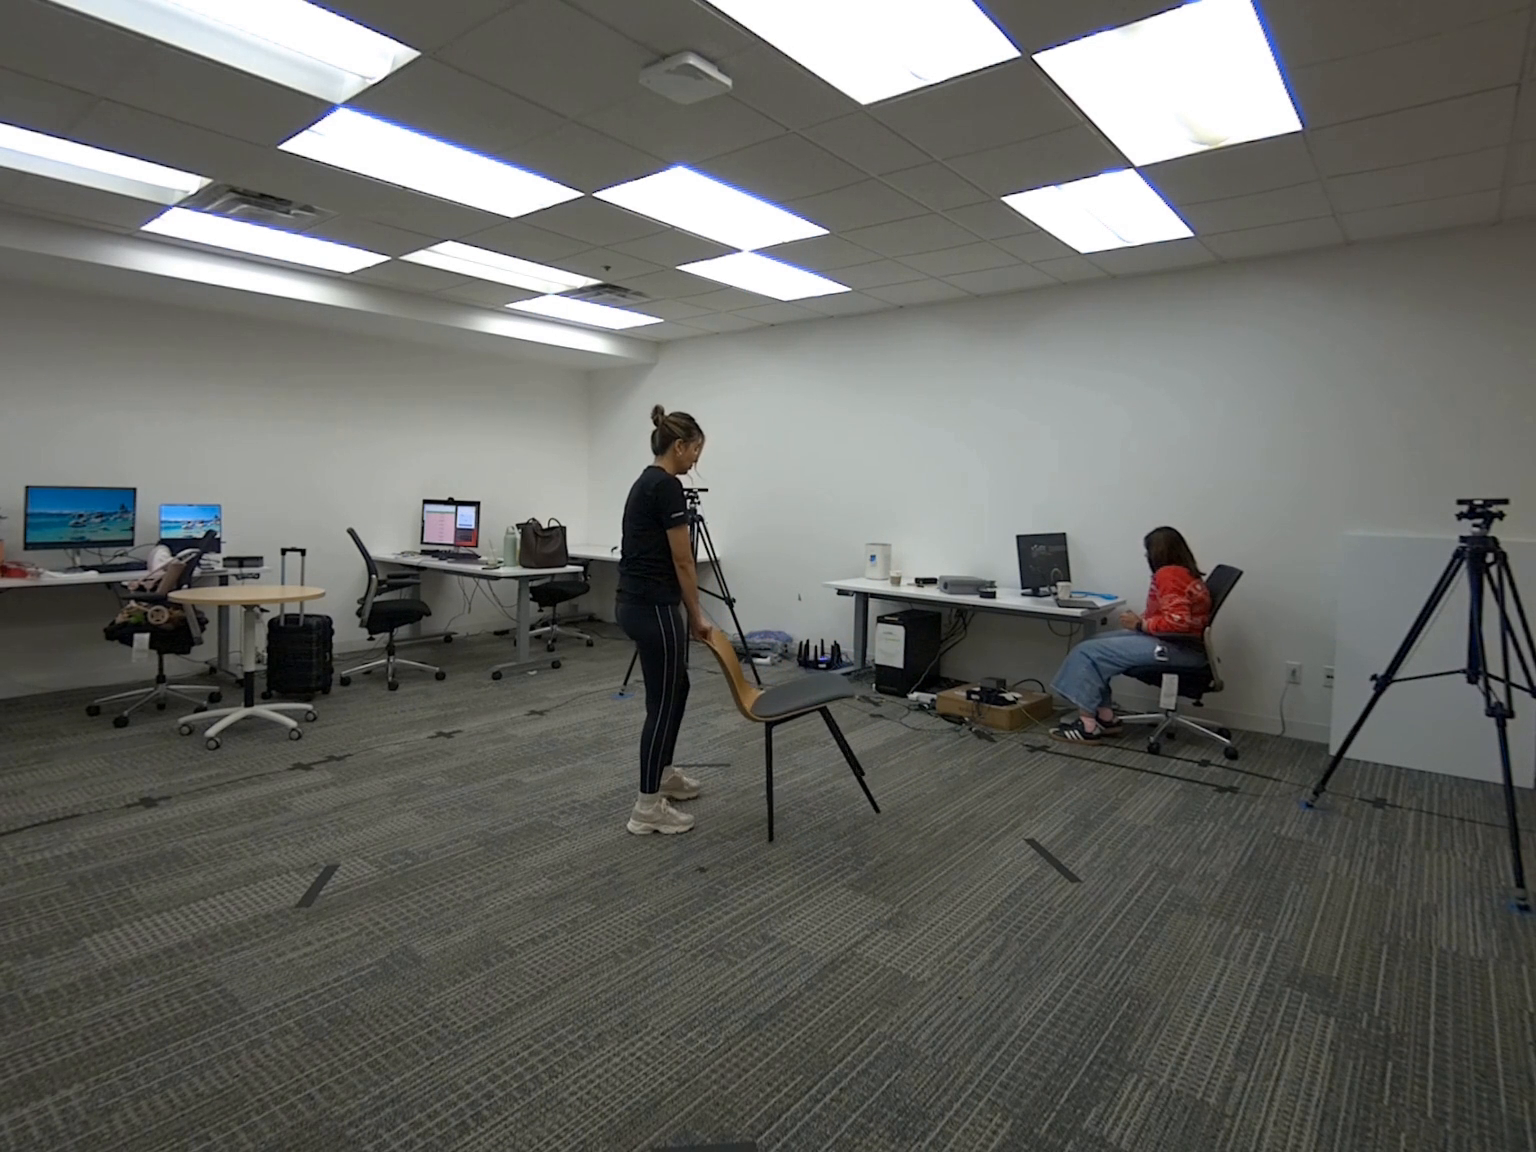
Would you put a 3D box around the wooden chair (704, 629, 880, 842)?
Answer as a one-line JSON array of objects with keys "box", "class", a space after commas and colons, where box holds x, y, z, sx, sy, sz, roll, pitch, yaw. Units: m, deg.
[{"box": [0.095, 0.556, 3.546, 0.524, 0.875, 0.478, -21, 2, 2], "class": "wooden chair"}]
